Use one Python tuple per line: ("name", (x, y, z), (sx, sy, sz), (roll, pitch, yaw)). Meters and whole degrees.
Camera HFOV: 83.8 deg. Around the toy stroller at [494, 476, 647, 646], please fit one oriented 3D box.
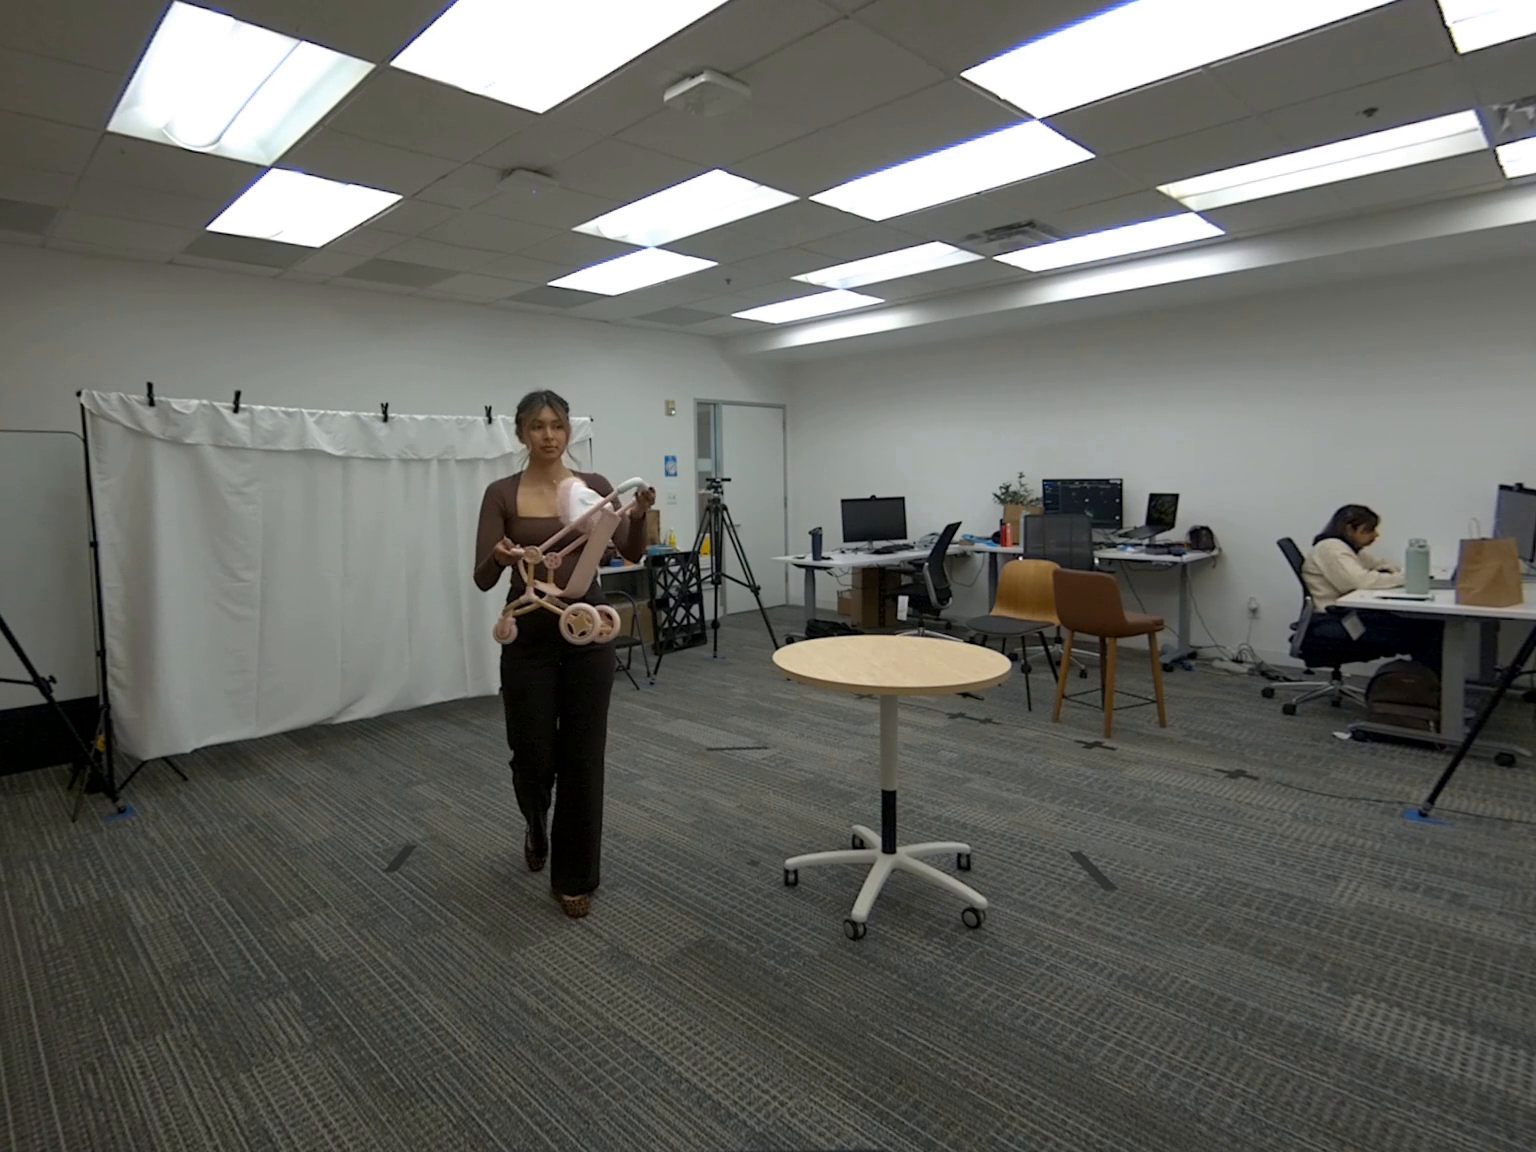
("toy stroller", (-0.565, -0.040, 2.424), (0.346, 0.536, 0.277), (12, -4, 10))
